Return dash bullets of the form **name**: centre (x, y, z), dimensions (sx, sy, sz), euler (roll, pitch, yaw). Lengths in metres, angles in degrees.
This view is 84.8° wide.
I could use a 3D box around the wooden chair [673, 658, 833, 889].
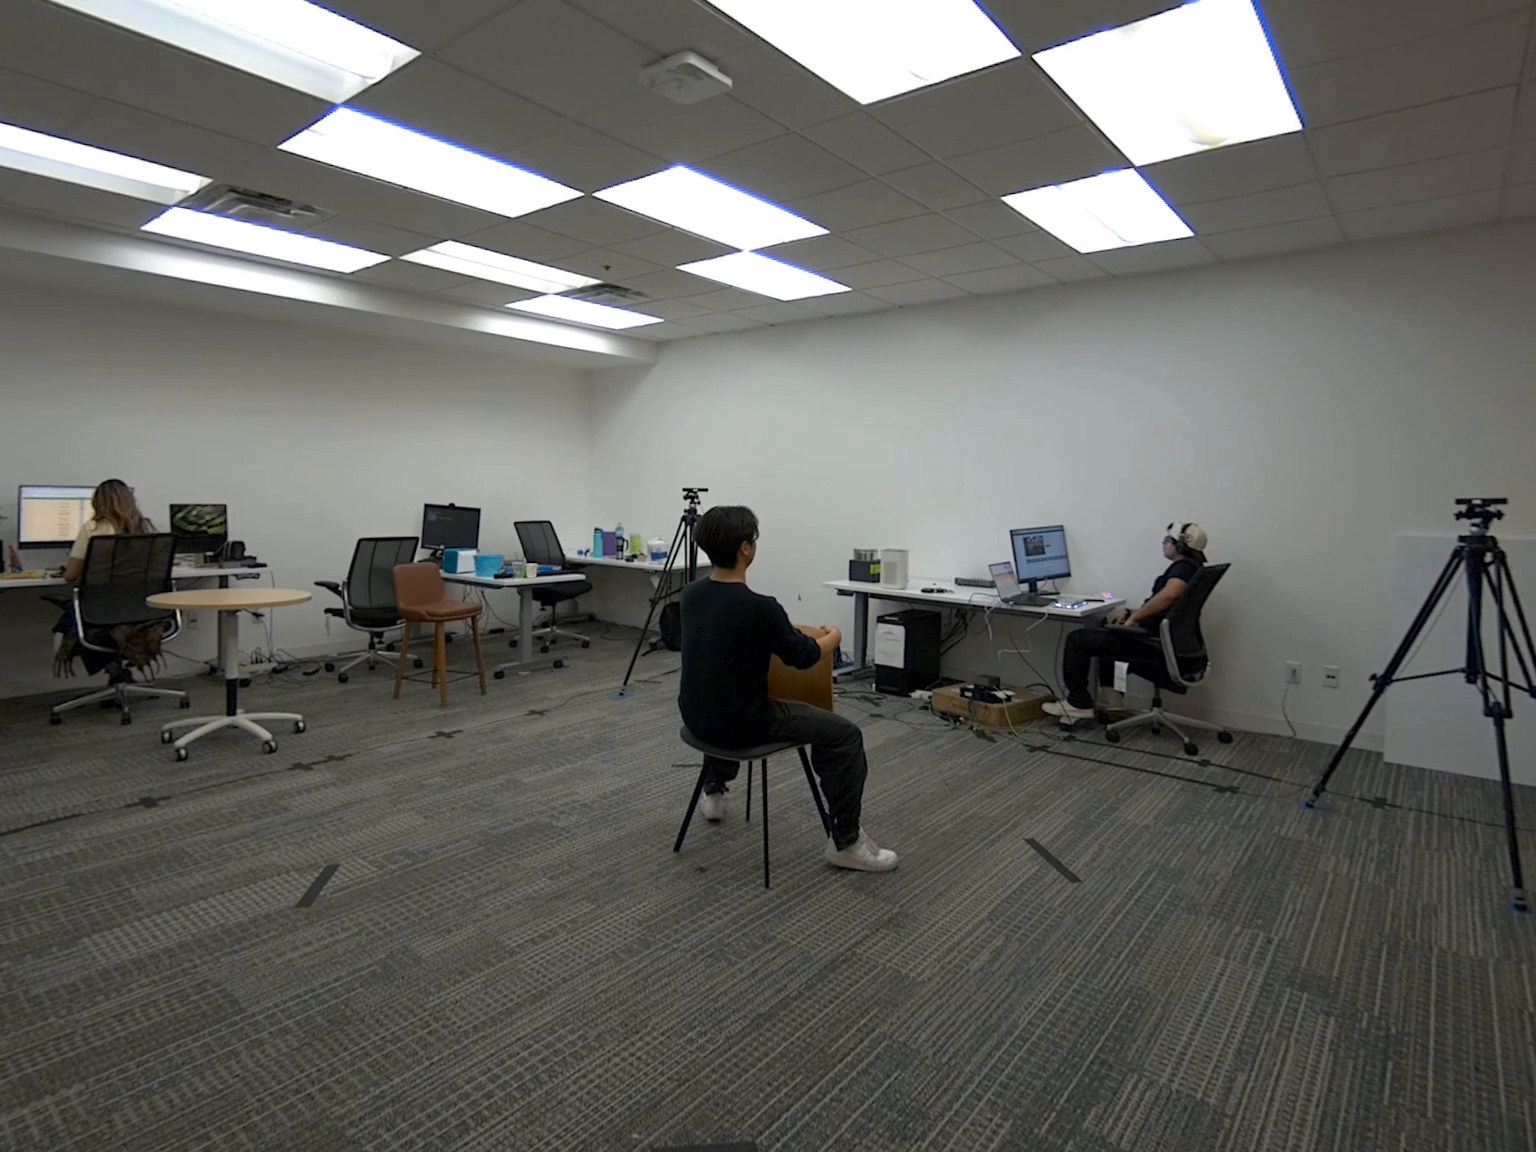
- **wooden chair**: centre (-0.052, 0.628, 3.241), dimensions (0.494, 0.877, 0.506), euler (4, 1, 40)
